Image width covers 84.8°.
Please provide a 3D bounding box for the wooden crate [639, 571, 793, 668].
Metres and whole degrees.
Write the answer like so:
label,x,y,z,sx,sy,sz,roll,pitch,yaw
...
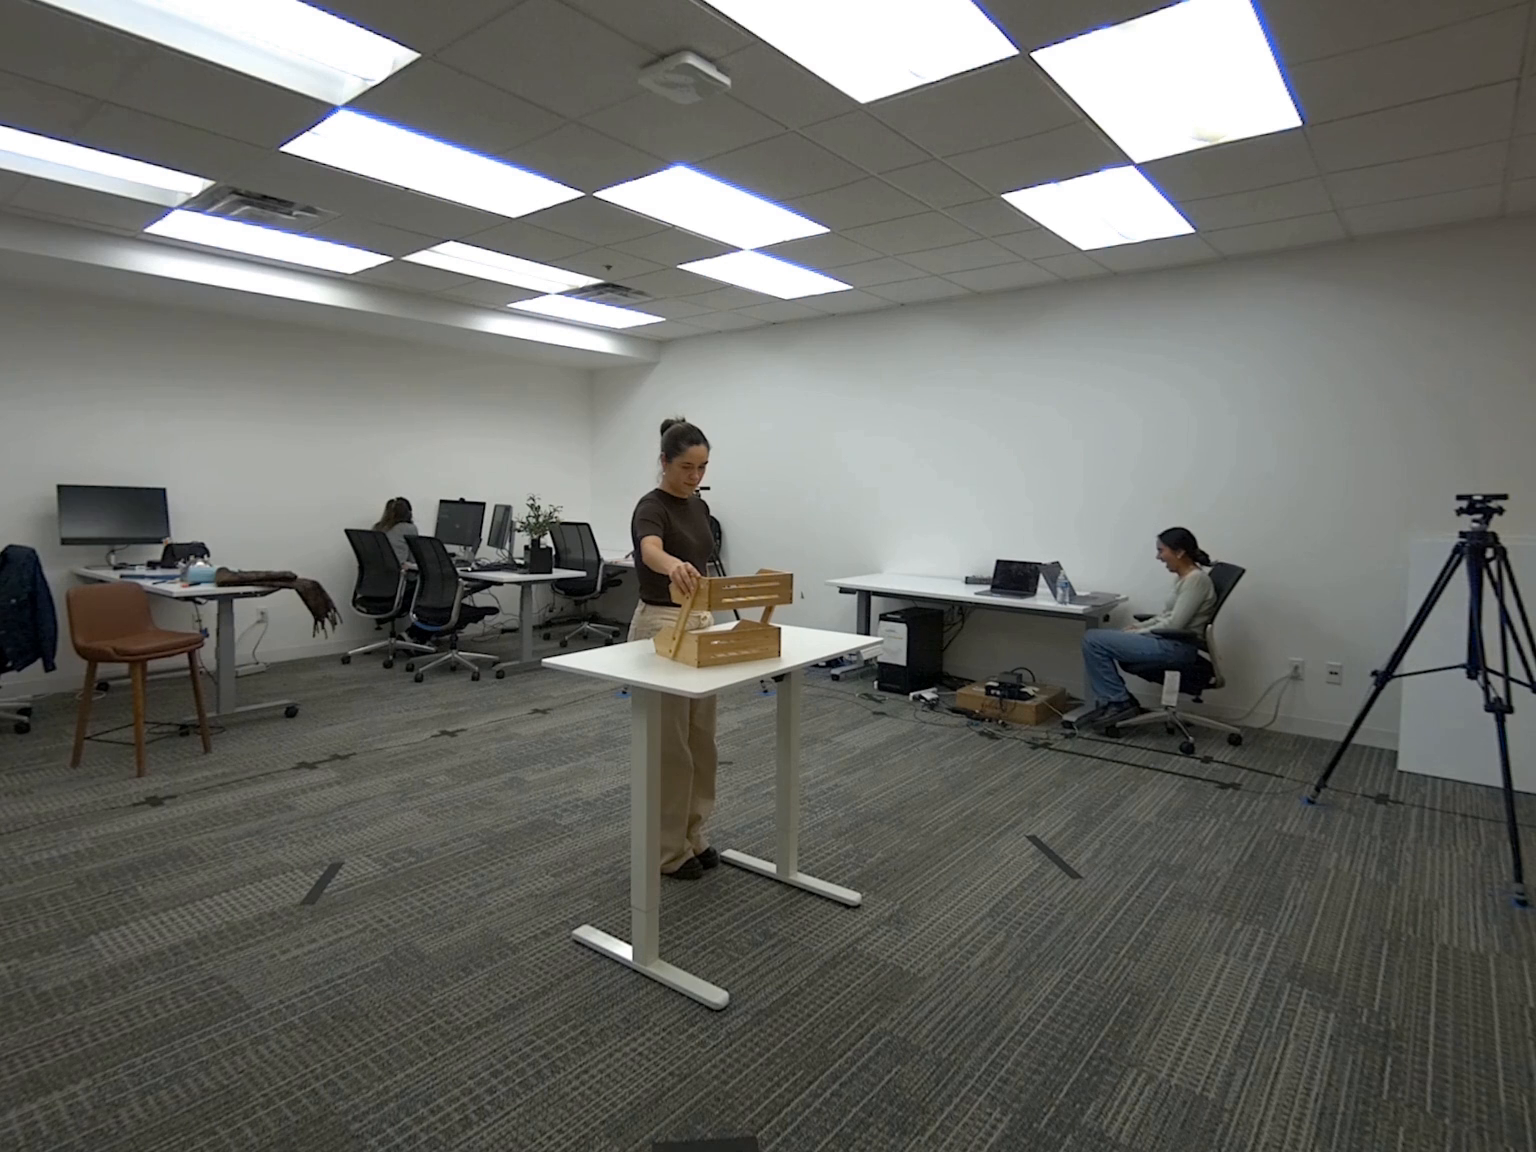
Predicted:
label,x,y,z,sx,sy,sz,roll,pitch,yaw
wooden crate,-0.147,0.108,2.548,0.315,0.272,0.312,-3,7,-36
